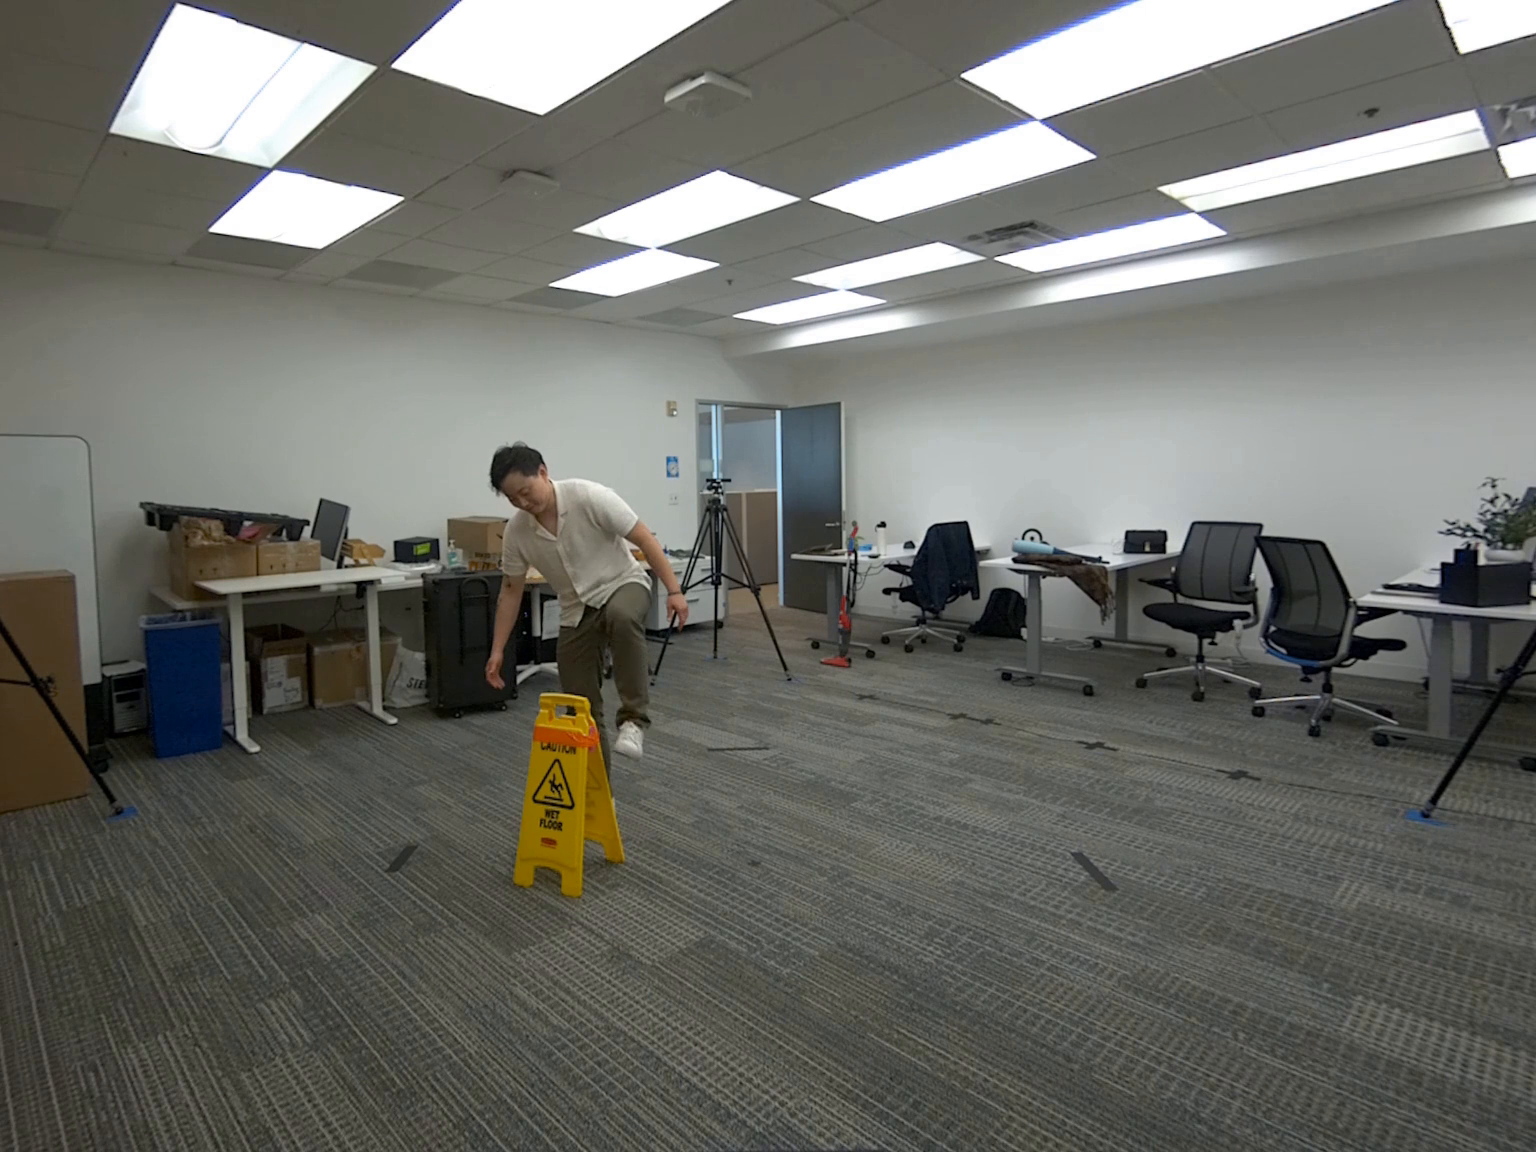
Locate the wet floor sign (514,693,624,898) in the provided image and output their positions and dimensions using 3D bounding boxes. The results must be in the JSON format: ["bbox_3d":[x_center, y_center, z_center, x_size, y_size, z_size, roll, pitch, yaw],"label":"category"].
[{"bbox_3d":[-0.717,0.741,3.039,0.288,0.643,0.285,0,5,23],"label":"wet floor sign"}]
